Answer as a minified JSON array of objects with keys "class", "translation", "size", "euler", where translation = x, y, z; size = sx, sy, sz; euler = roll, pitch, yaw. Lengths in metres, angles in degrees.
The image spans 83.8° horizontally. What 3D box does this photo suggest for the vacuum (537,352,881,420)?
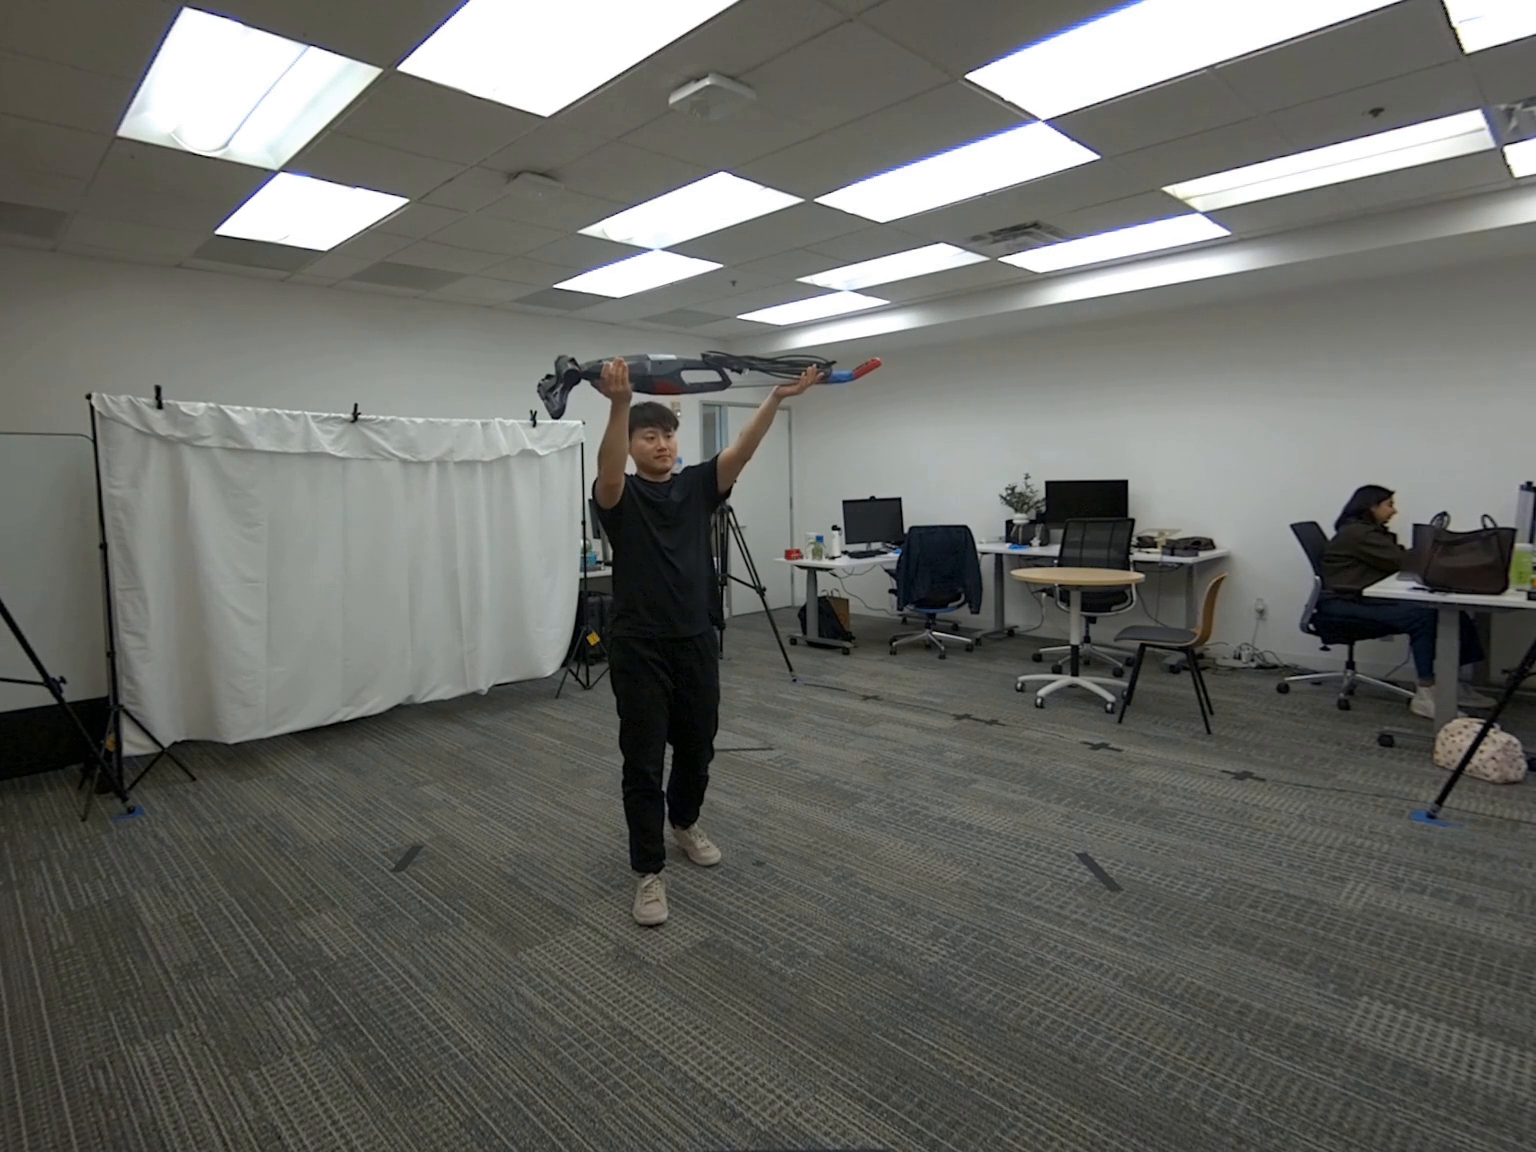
[{"class":"vacuum","translation":[-0.124,-0.617,2.588],"size":[1.034,0.141,0.262],"euler":[-10,32,-19]}]
